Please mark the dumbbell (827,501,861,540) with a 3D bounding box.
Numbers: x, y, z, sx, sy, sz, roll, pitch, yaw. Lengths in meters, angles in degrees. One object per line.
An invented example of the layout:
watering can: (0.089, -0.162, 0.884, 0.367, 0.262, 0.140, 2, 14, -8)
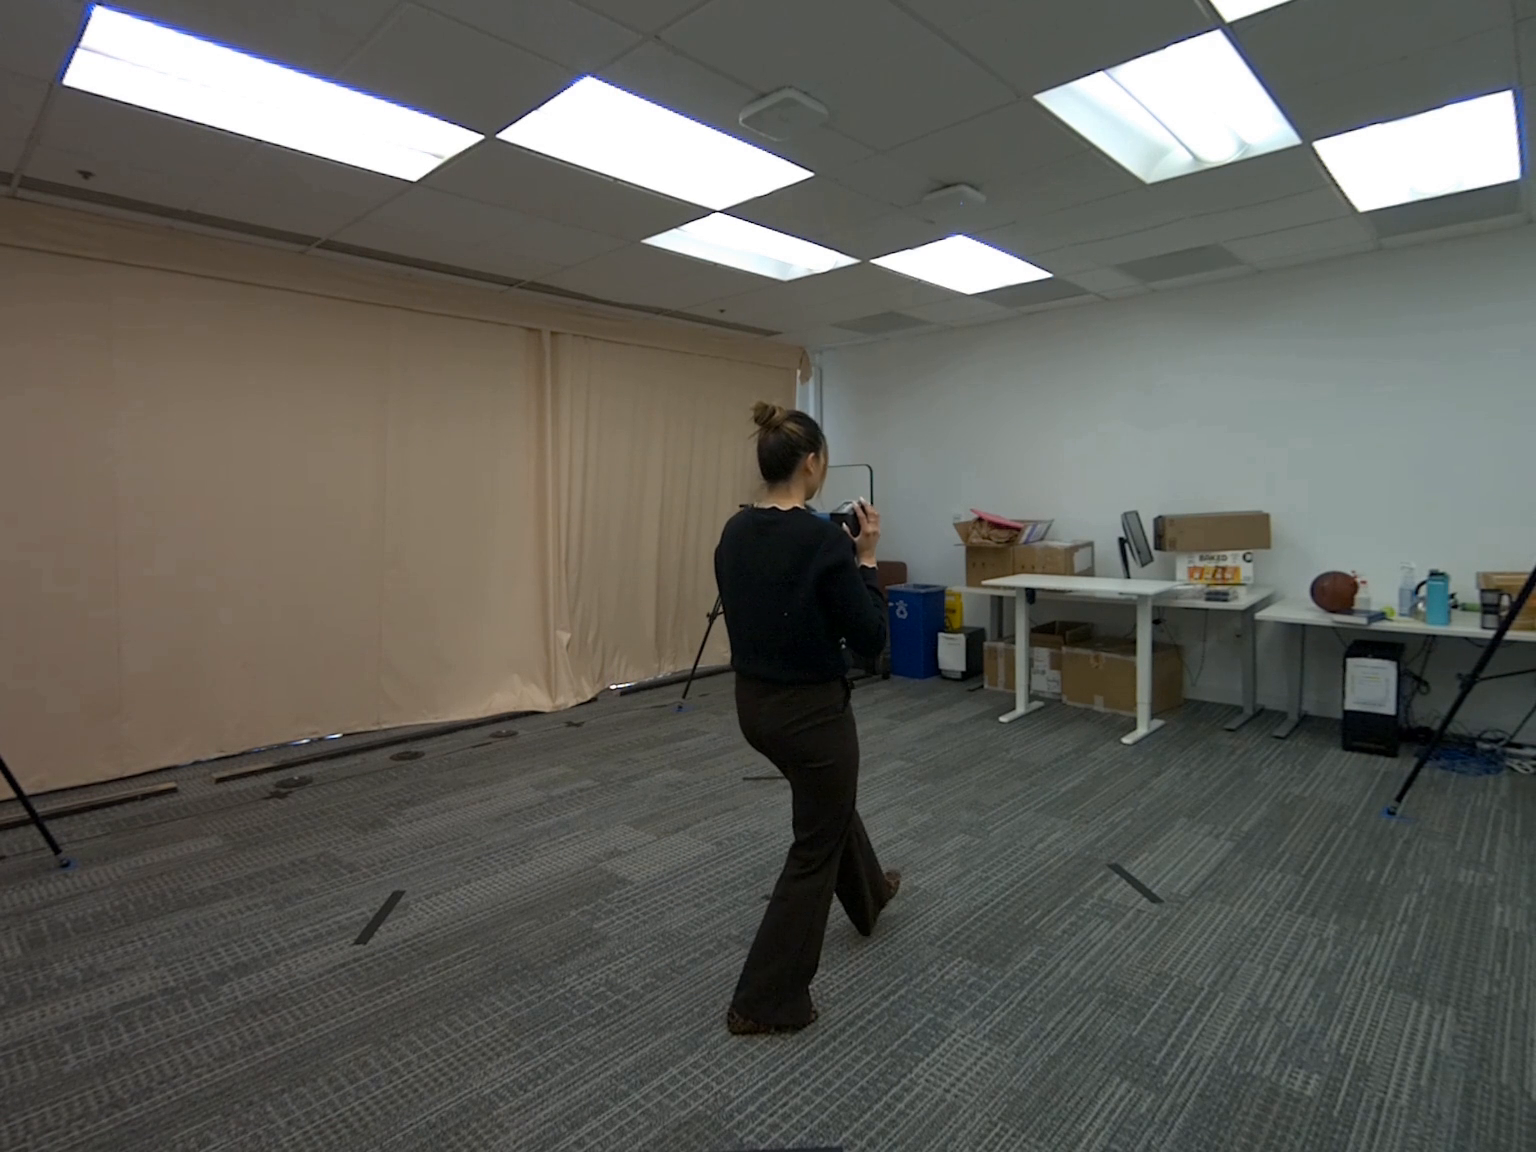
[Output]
dumbbell: (0.176, -0.146, 2.291, 0.303, 0.106, 0.122, 4, 37, 43)
